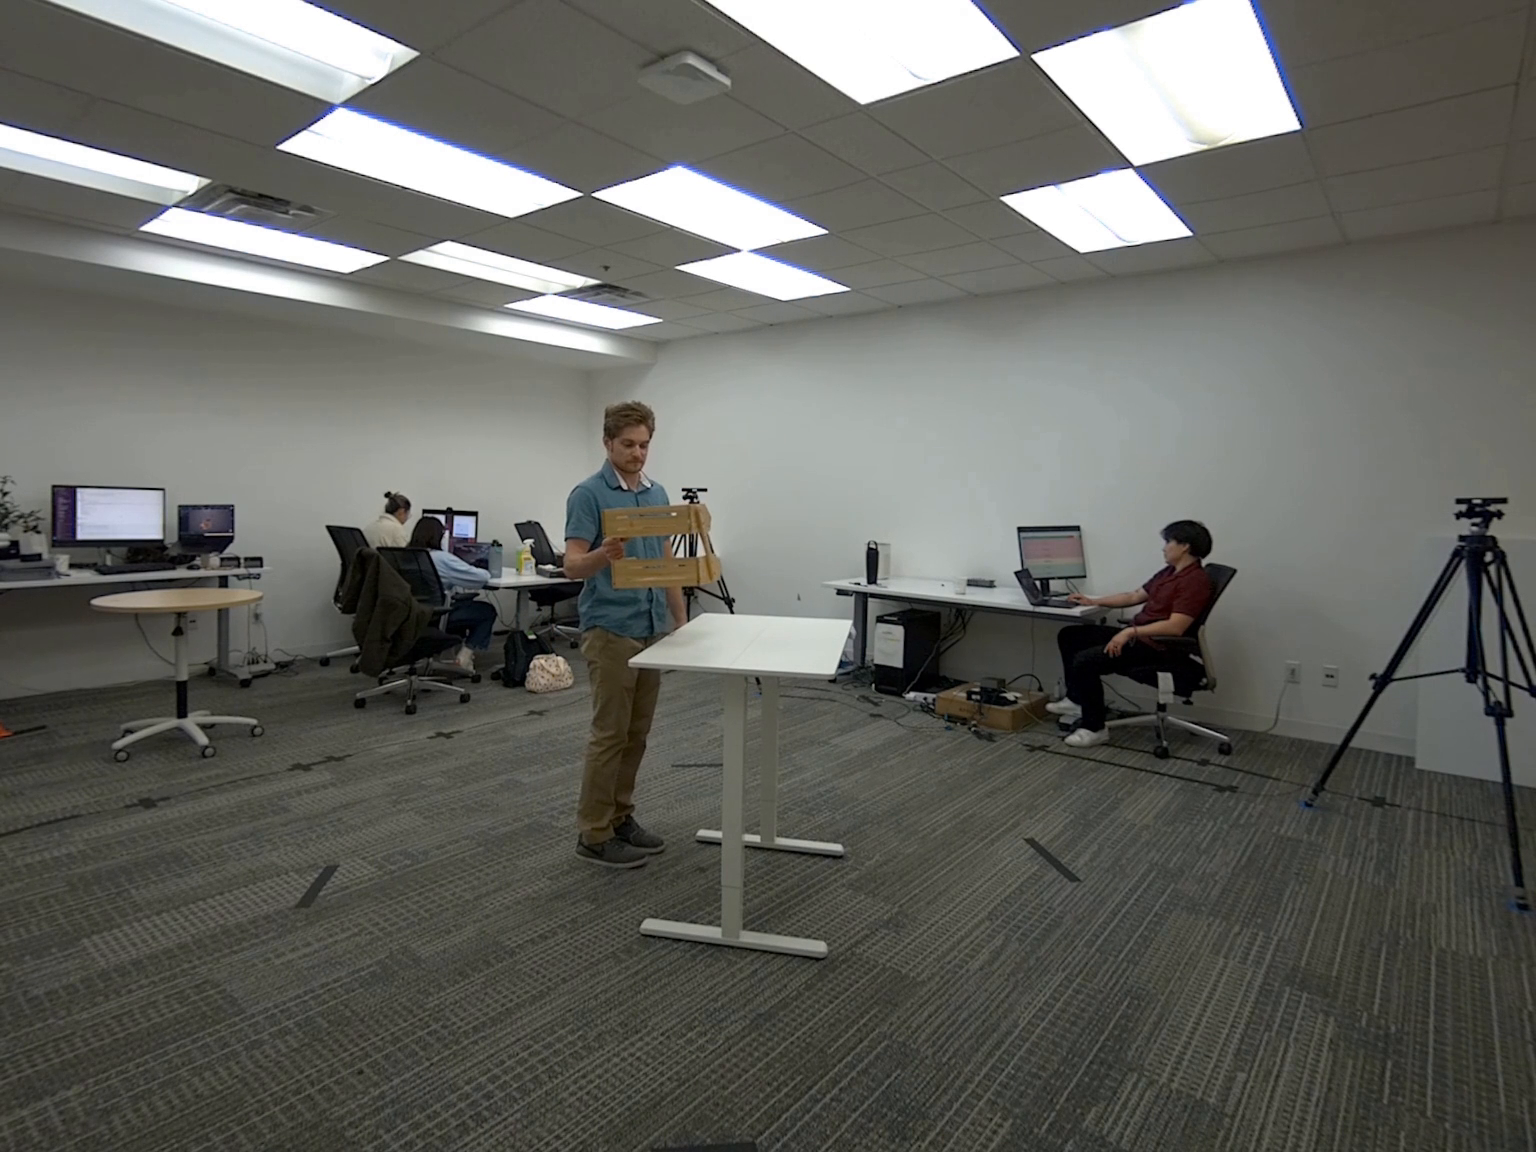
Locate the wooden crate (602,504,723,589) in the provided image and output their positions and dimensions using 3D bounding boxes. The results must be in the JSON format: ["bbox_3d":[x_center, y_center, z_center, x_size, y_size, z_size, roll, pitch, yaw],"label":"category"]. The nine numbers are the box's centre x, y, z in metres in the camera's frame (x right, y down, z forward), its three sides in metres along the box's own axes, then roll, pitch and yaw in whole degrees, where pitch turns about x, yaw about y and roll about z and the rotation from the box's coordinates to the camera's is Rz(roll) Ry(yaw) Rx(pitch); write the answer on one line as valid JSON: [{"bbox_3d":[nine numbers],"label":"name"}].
[{"bbox_3d":[-0.351,-0.108,2.827,0.330,0.272,0.298,-2,4,16],"label":"wooden crate"}]
